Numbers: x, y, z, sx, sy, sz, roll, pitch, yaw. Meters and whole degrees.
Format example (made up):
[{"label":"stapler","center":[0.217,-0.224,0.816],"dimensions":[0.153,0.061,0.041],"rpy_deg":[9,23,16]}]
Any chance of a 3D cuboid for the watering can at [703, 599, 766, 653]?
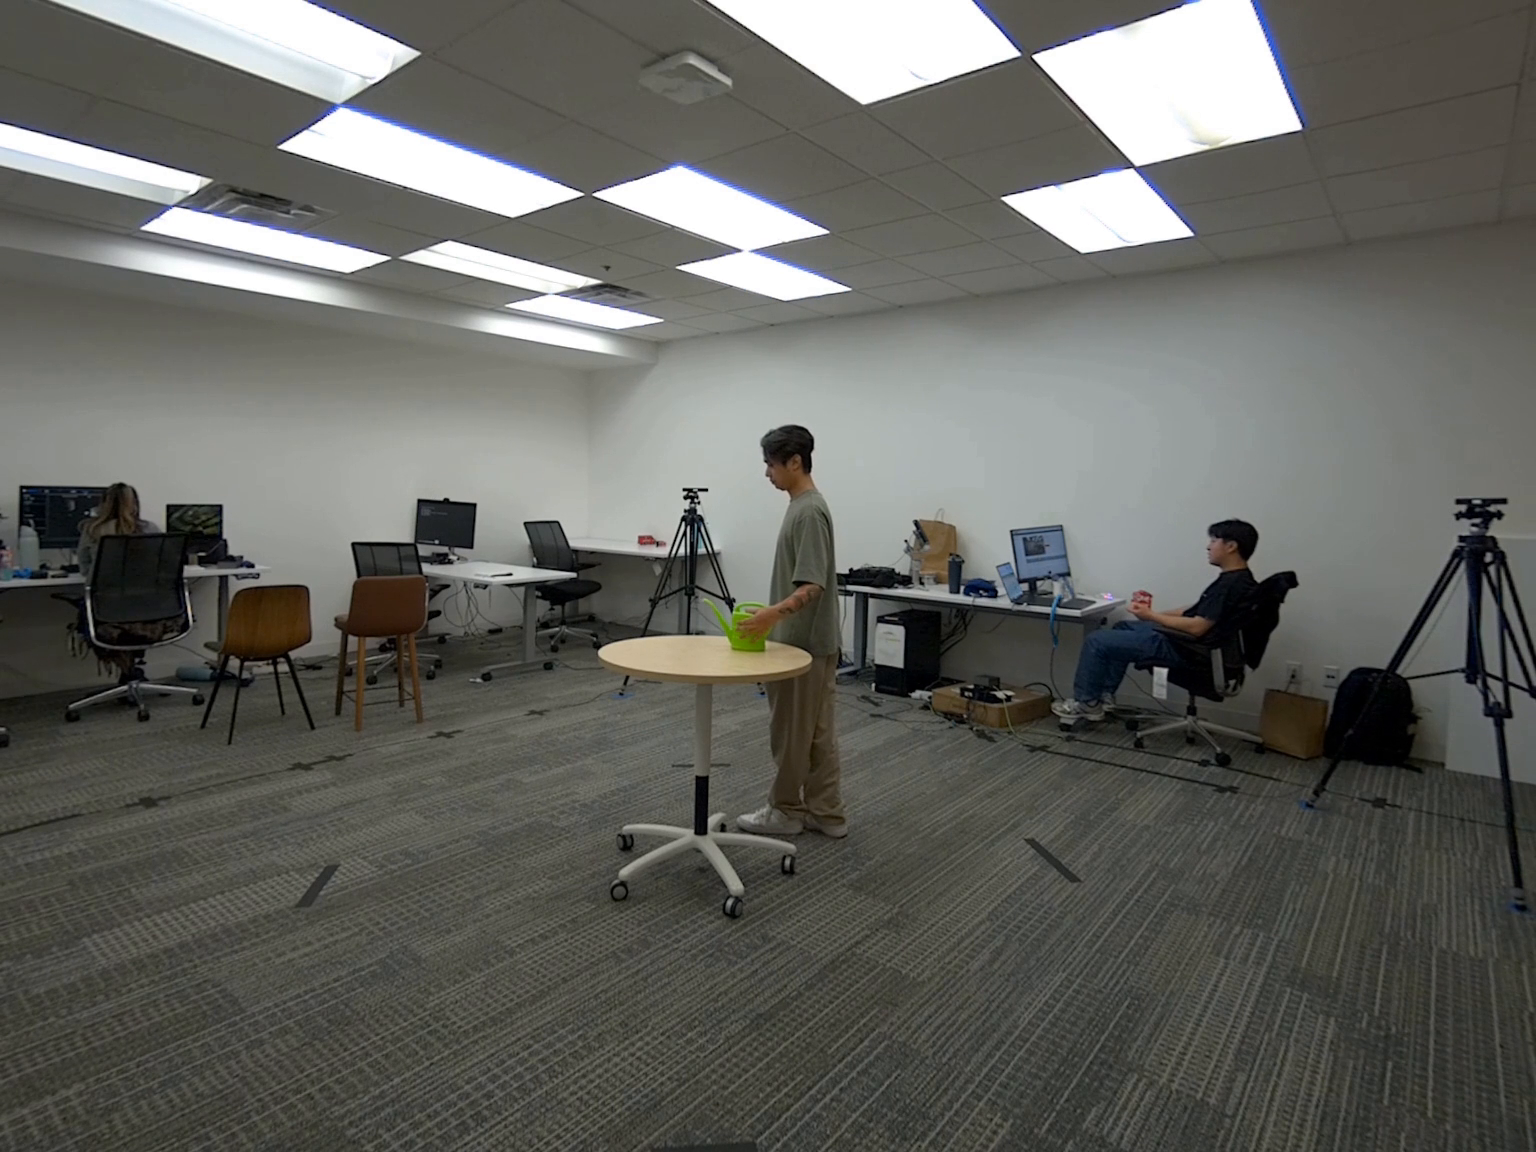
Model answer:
[{"label":"watering can","center":[-0.126,0.182,3.186],"dimensions":[0.286,0.176,0.095],"rpy_deg":[5,4,28]}]
